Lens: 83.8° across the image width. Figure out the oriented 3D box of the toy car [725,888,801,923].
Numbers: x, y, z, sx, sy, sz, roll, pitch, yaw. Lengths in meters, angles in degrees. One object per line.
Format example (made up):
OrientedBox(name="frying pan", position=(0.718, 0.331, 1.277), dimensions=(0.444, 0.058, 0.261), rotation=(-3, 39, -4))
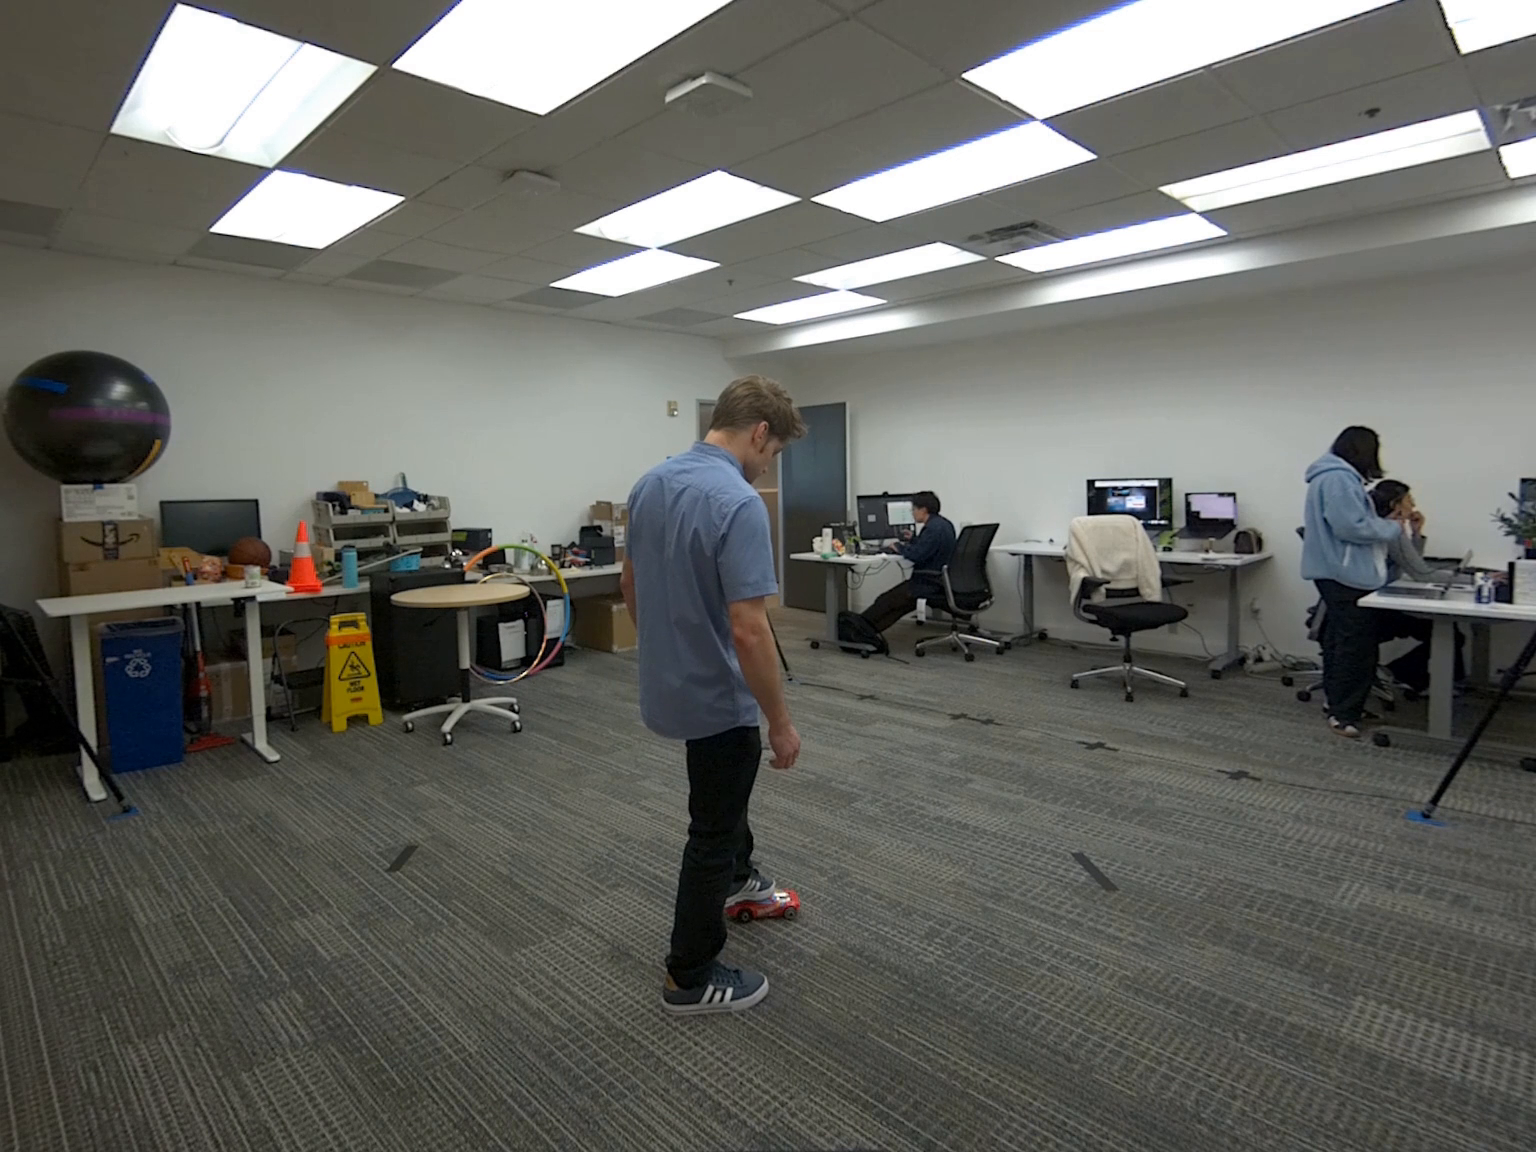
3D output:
OrientedBox(name="toy car", position=(-0.024, 1.057, 2.744), dimensions=(0.253, 0.083, 0.131), rotation=(9, 5, -5))
